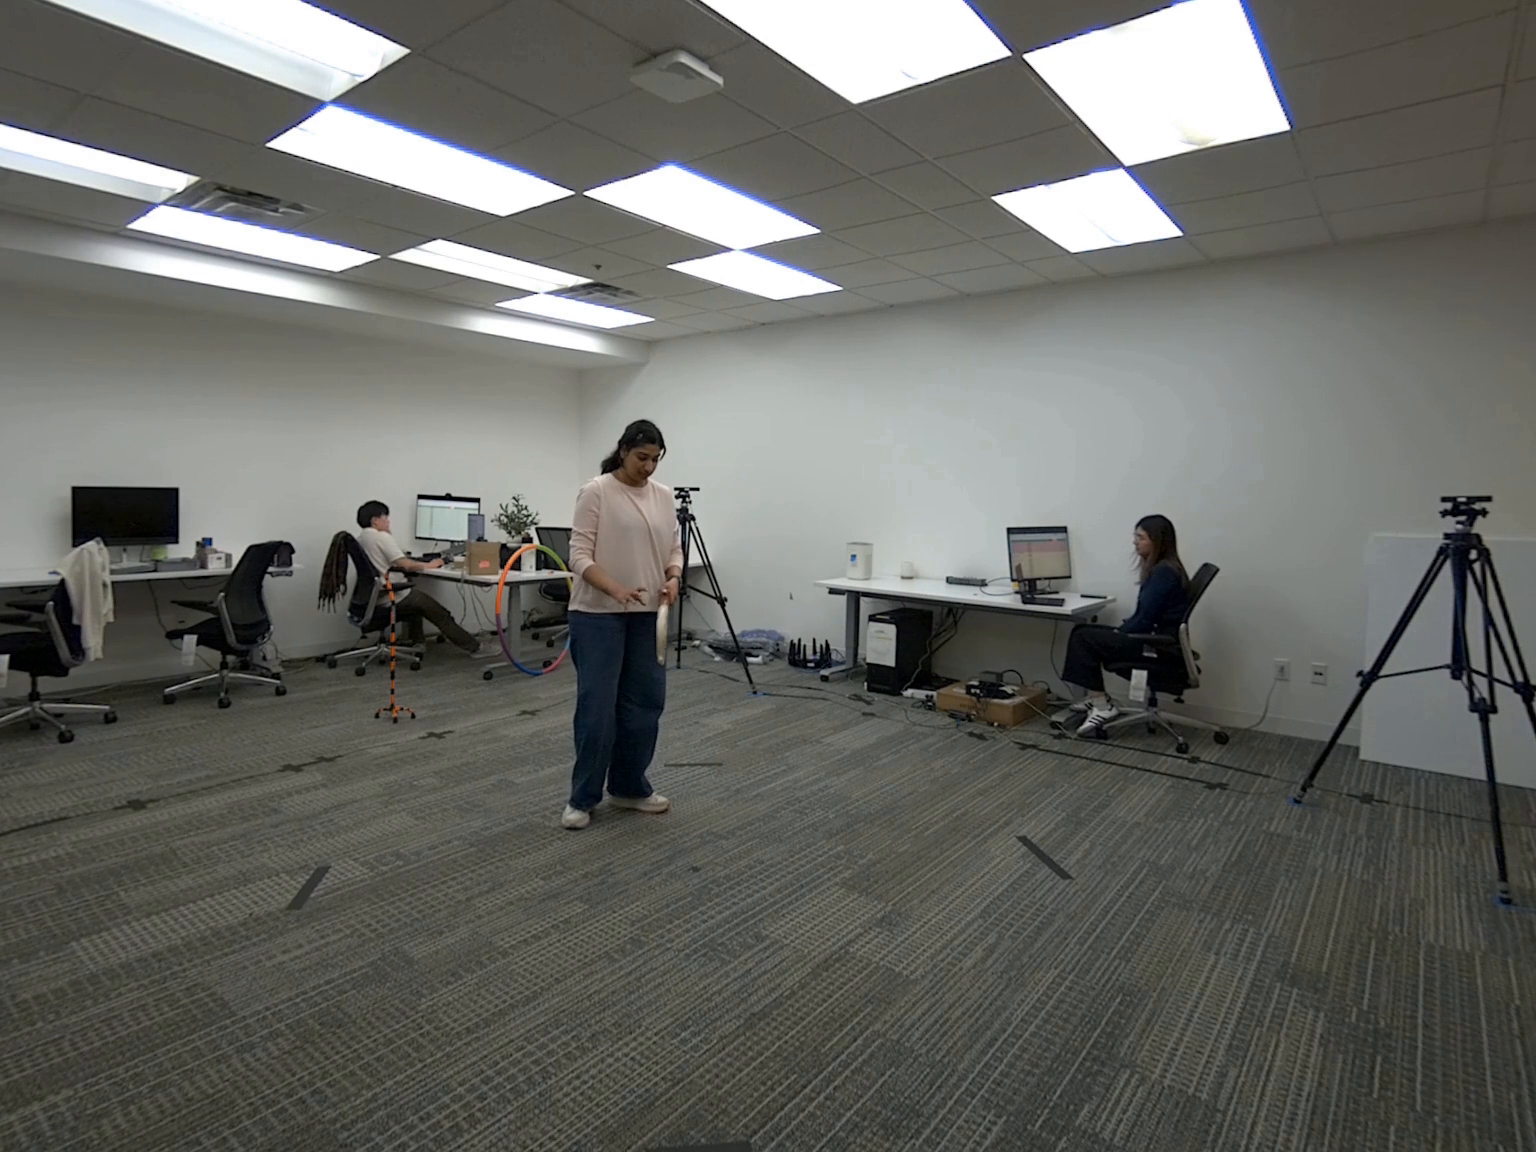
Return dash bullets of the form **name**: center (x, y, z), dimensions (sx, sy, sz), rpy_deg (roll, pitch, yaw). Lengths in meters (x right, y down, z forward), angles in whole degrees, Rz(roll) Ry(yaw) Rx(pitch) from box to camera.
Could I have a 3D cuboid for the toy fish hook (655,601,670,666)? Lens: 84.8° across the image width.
- **toy fish hook**: center (-0.426, 0.183, 3.330), dimensions (0.048, 0.222, 0.515), rpy_deg (10, 17, -5)
